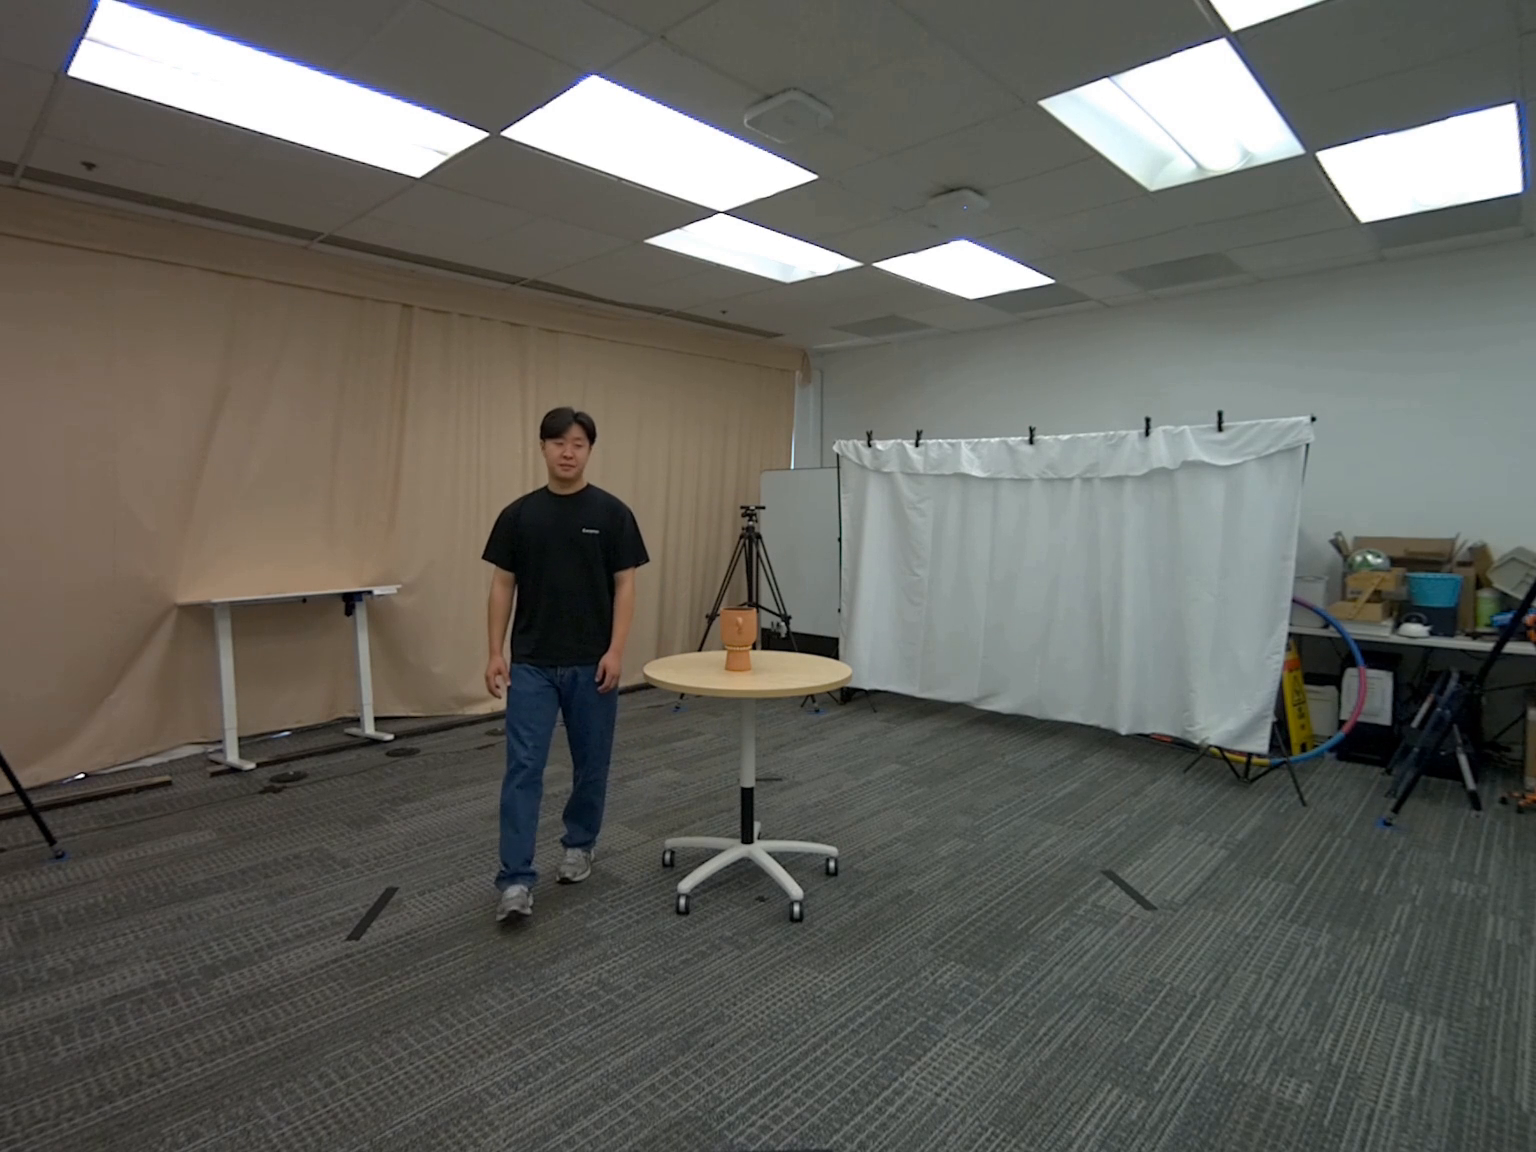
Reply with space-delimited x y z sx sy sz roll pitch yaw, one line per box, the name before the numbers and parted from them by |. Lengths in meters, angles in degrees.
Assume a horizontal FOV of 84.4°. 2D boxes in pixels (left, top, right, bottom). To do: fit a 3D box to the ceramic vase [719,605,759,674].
ceramic vase | -0.110 0.232 3.070 0.139 0.219 0.154 2 5 32
